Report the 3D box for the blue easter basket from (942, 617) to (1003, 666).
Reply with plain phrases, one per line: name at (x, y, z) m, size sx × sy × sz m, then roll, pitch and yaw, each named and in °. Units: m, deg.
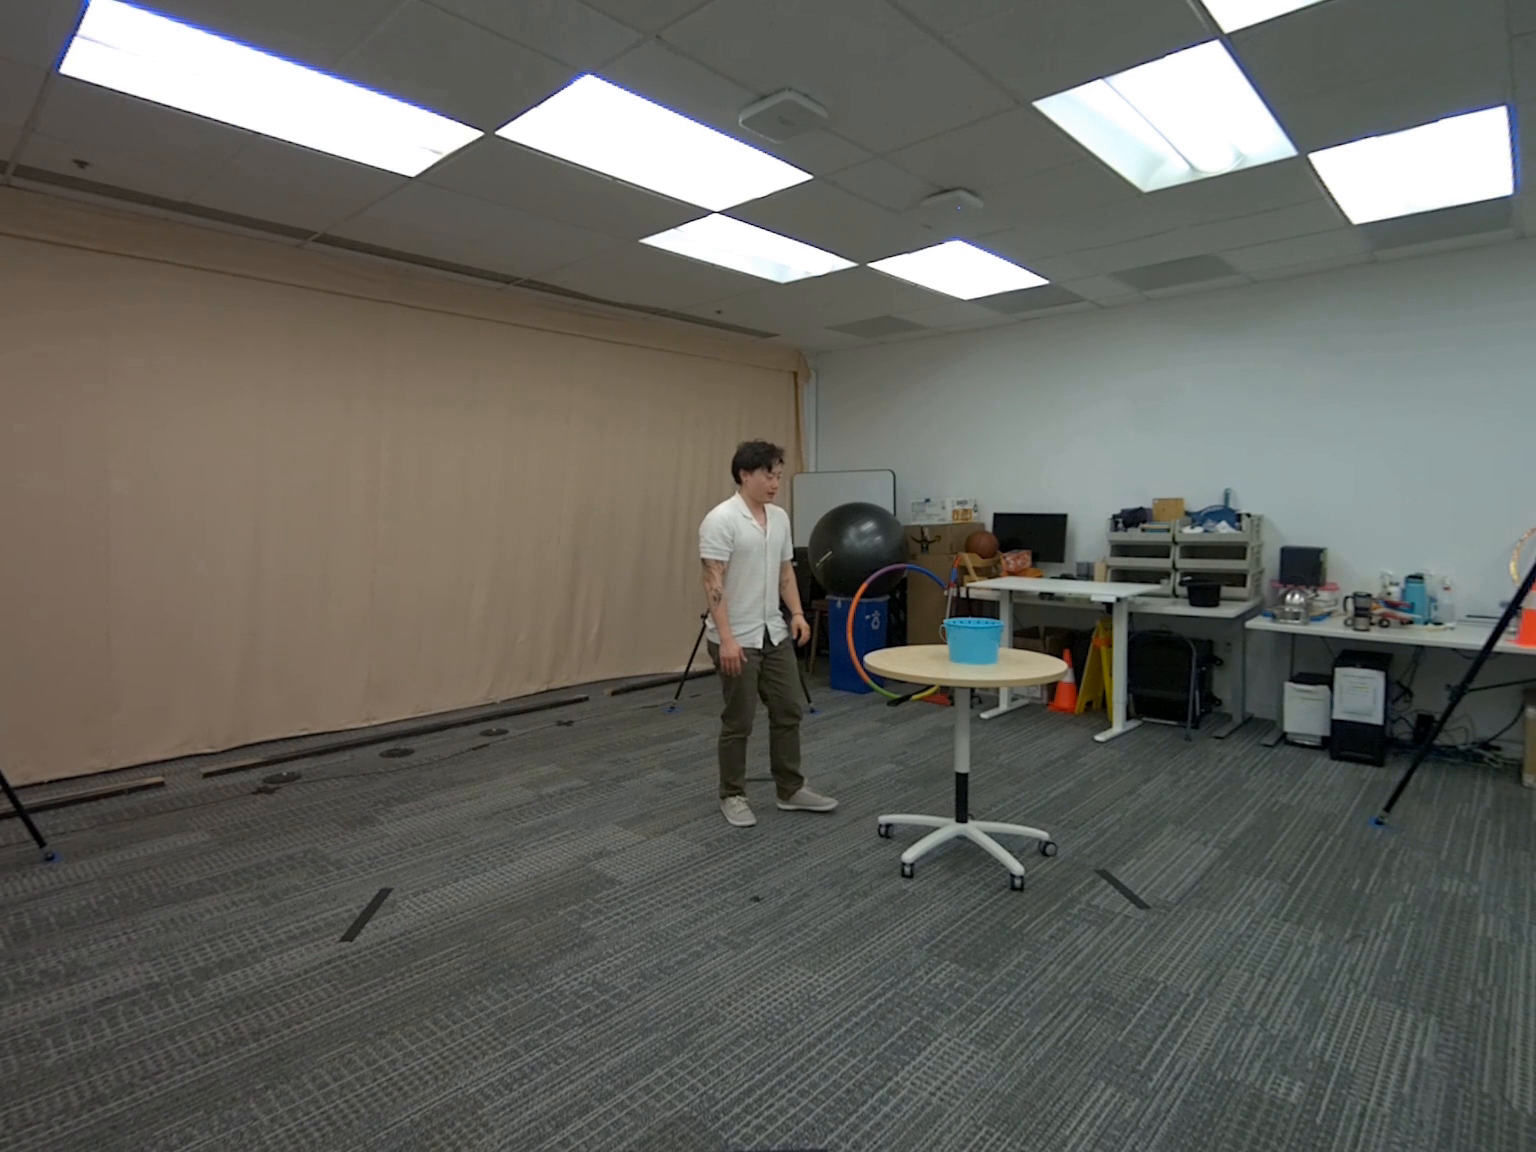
blue easter basket at (0.819, 0.259, 3.312) m, size 0.243 × 0.155 × 0.244 m, roll 0°, pitch 4°, yaw -2°
